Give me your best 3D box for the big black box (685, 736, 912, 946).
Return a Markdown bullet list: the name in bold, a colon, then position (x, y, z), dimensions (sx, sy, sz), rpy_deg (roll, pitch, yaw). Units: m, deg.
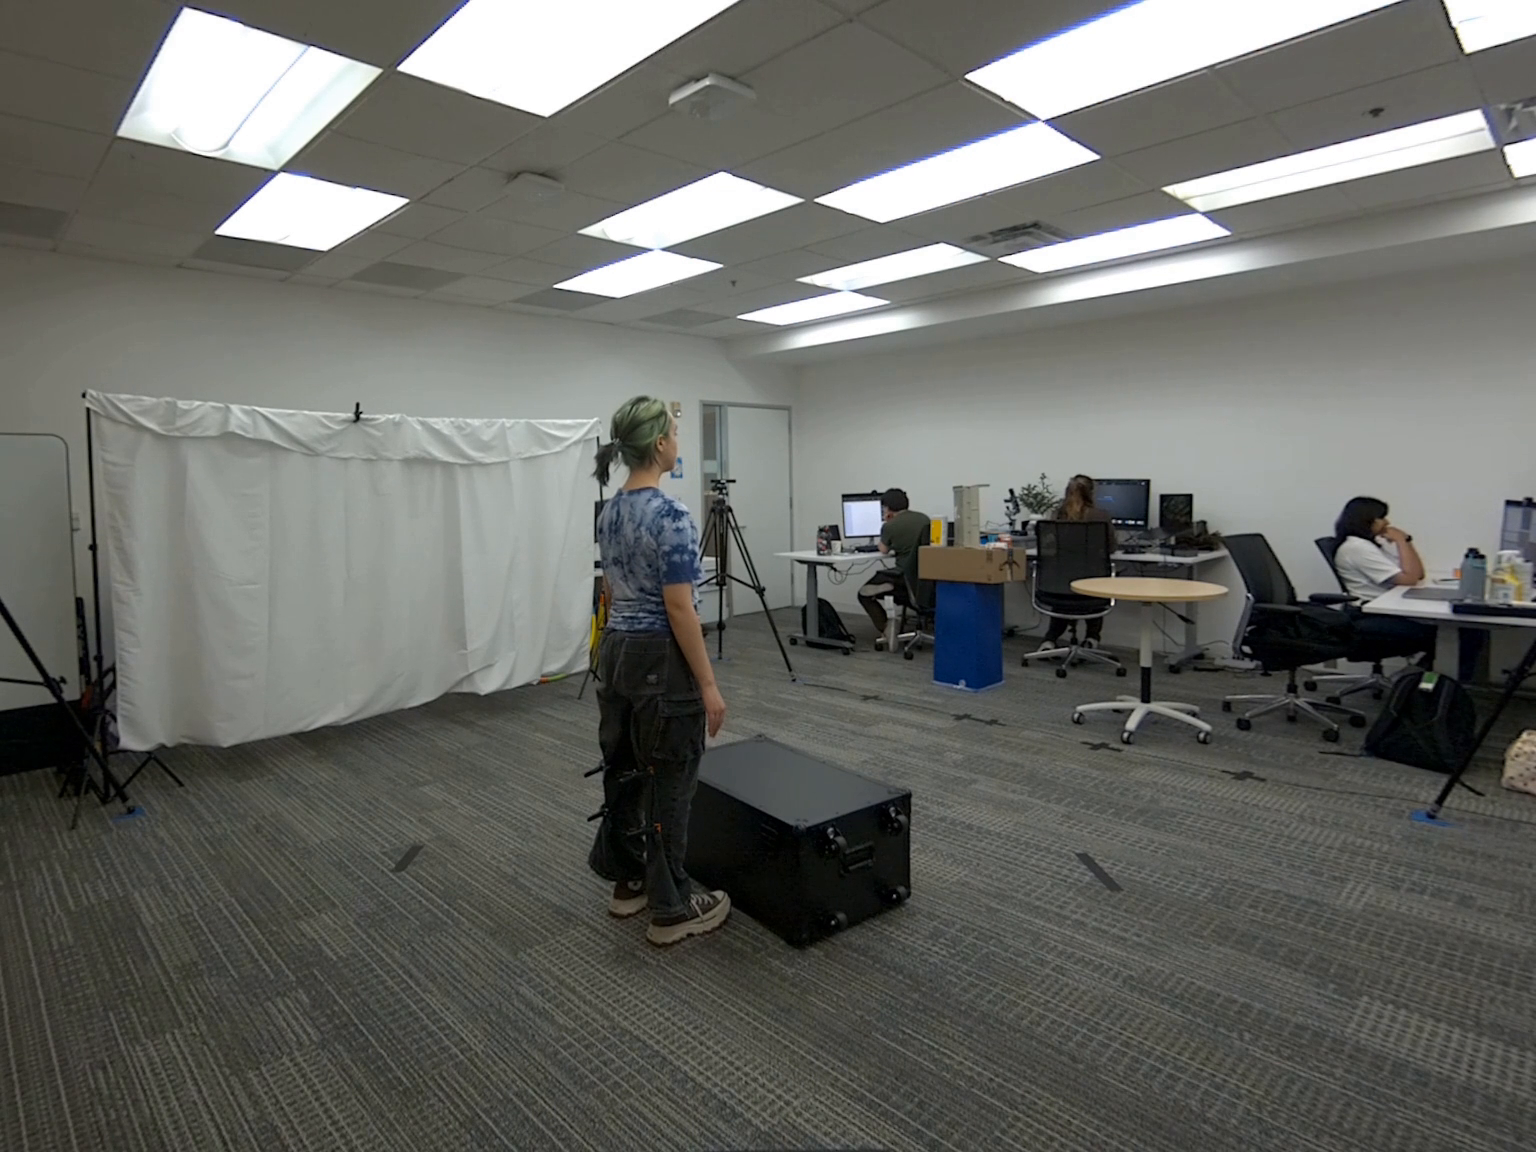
- **big black box**: position (0.058, 0.875, 2.935), dimensions (0.508, 0.395, 0.887), rpy_deg (-5, 7, -37)
